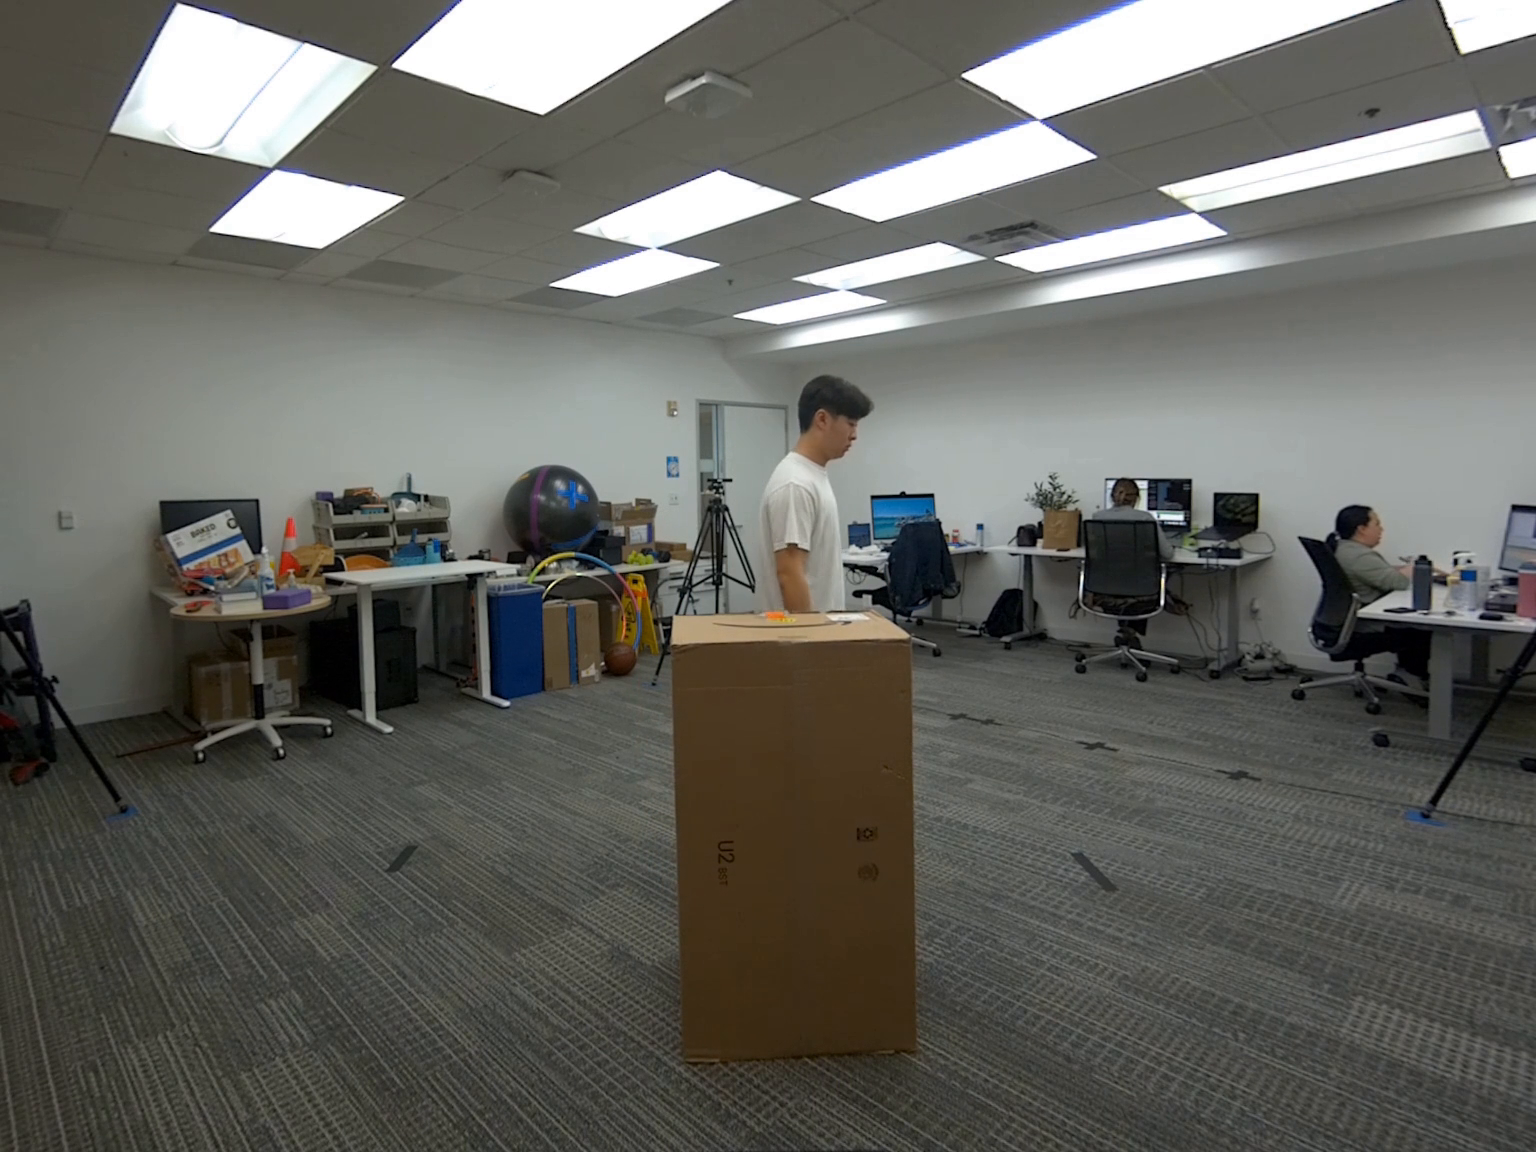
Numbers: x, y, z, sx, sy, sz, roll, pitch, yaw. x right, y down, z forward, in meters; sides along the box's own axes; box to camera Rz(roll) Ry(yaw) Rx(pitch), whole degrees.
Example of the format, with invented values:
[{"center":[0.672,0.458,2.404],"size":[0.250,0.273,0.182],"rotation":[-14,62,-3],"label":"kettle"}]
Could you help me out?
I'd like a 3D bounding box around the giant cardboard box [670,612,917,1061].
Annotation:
[{"center":[0.054,0.637,2.240],"size":[0.575,1.022,0.429],"rotation":[-2,4,-5],"label":"giant cardboard box"}]
